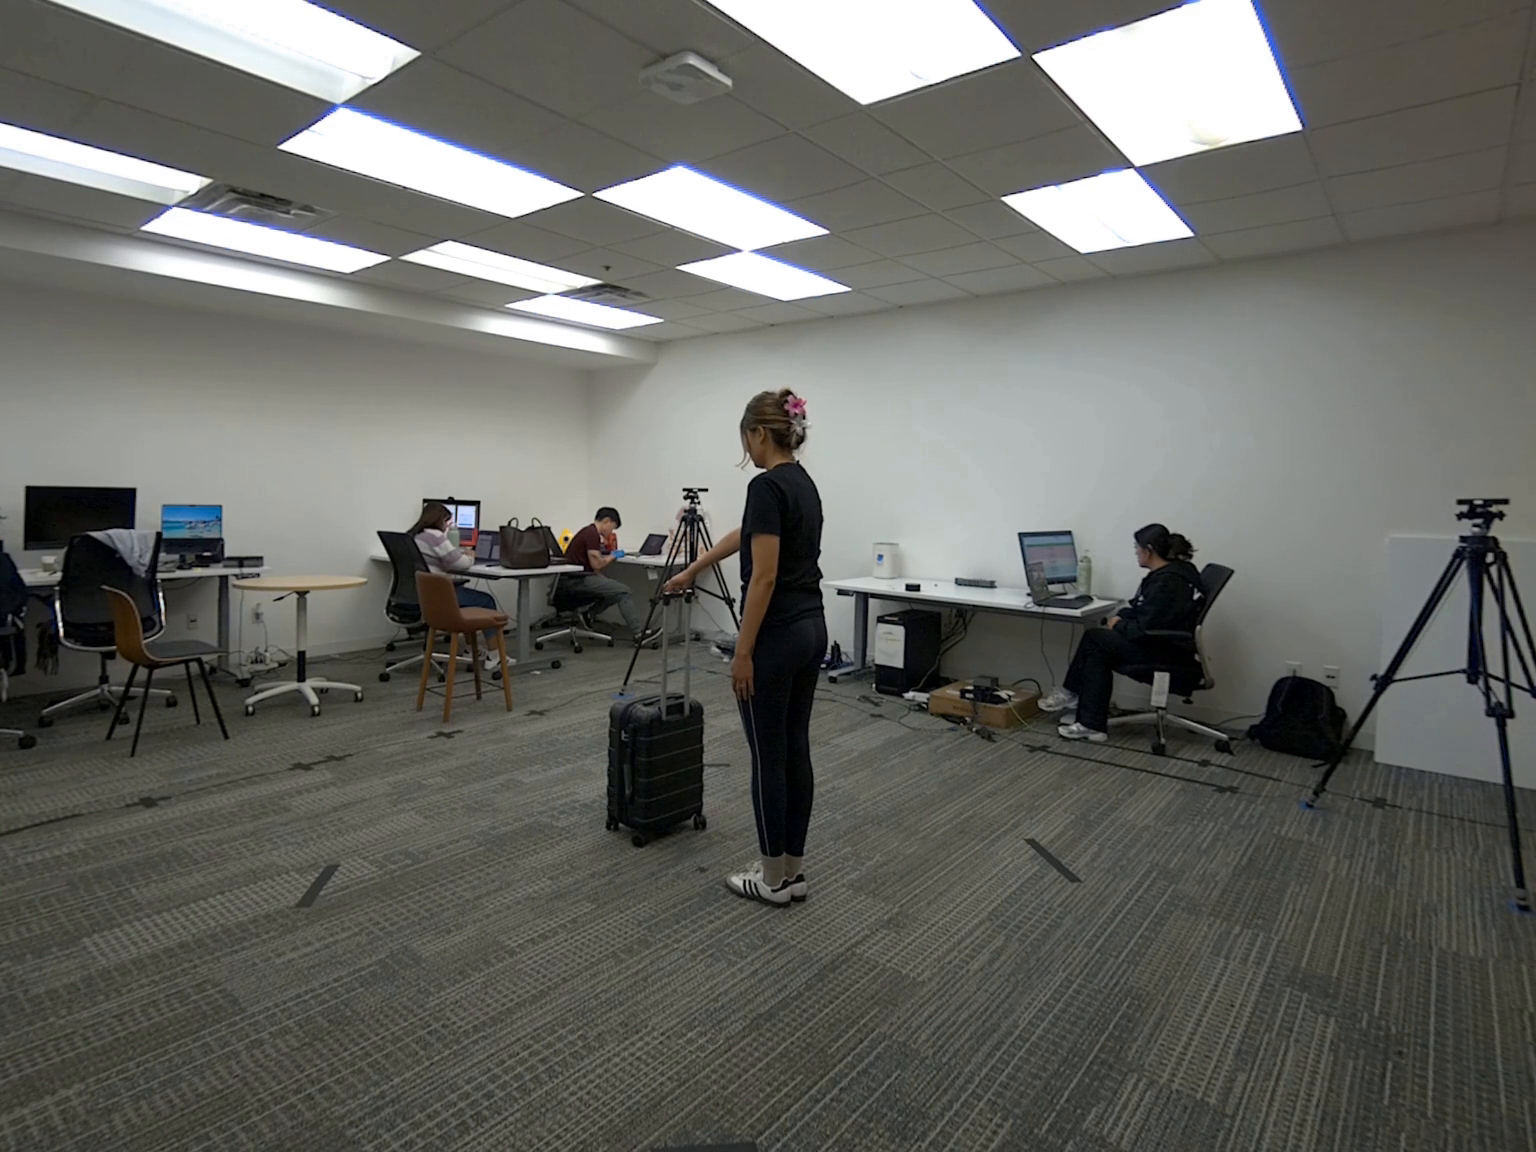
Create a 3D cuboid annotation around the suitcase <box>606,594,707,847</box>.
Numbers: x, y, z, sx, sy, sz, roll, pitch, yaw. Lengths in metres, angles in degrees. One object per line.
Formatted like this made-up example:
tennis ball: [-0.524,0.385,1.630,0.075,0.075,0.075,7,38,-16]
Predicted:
suitcase: [-0.468,0.556,3.459,0.372,0.977,0.265,-1,3,-45]
